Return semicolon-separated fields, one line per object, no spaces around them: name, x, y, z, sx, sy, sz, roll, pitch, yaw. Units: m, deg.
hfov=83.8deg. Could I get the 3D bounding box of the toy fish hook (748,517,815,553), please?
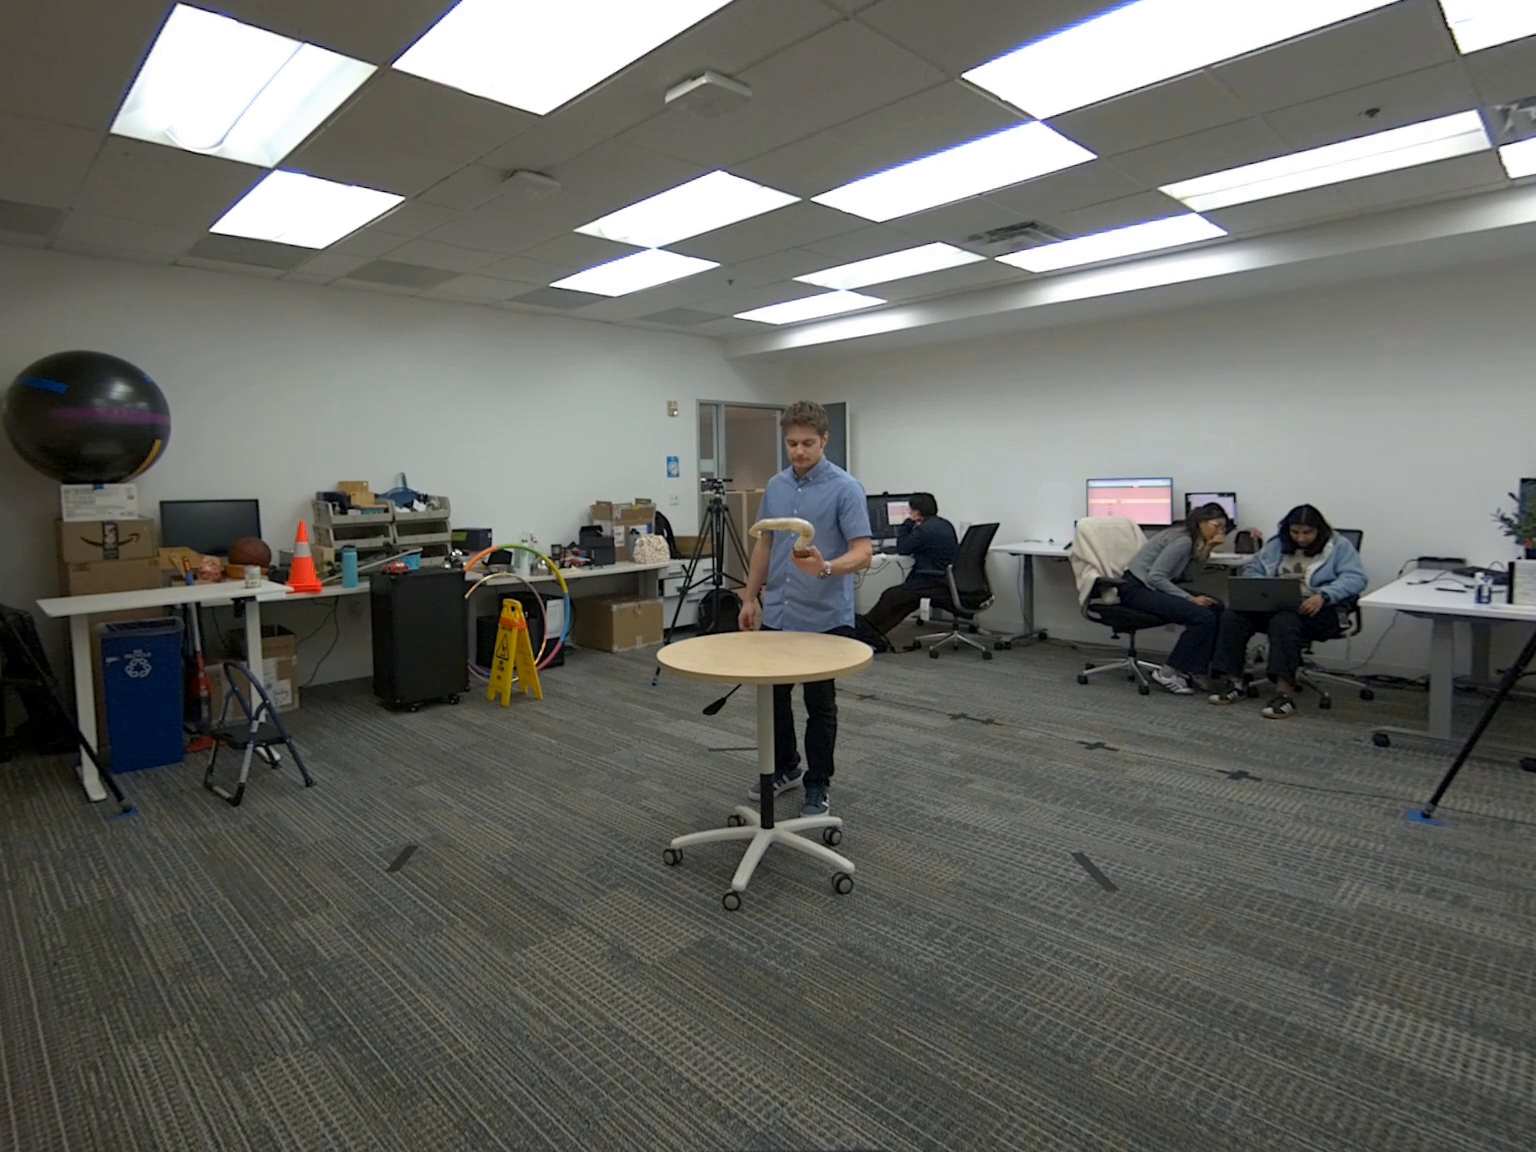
toy fish hook;0.052;-0.123;3.048;0.227;0.049;0.495;4;-16;7
